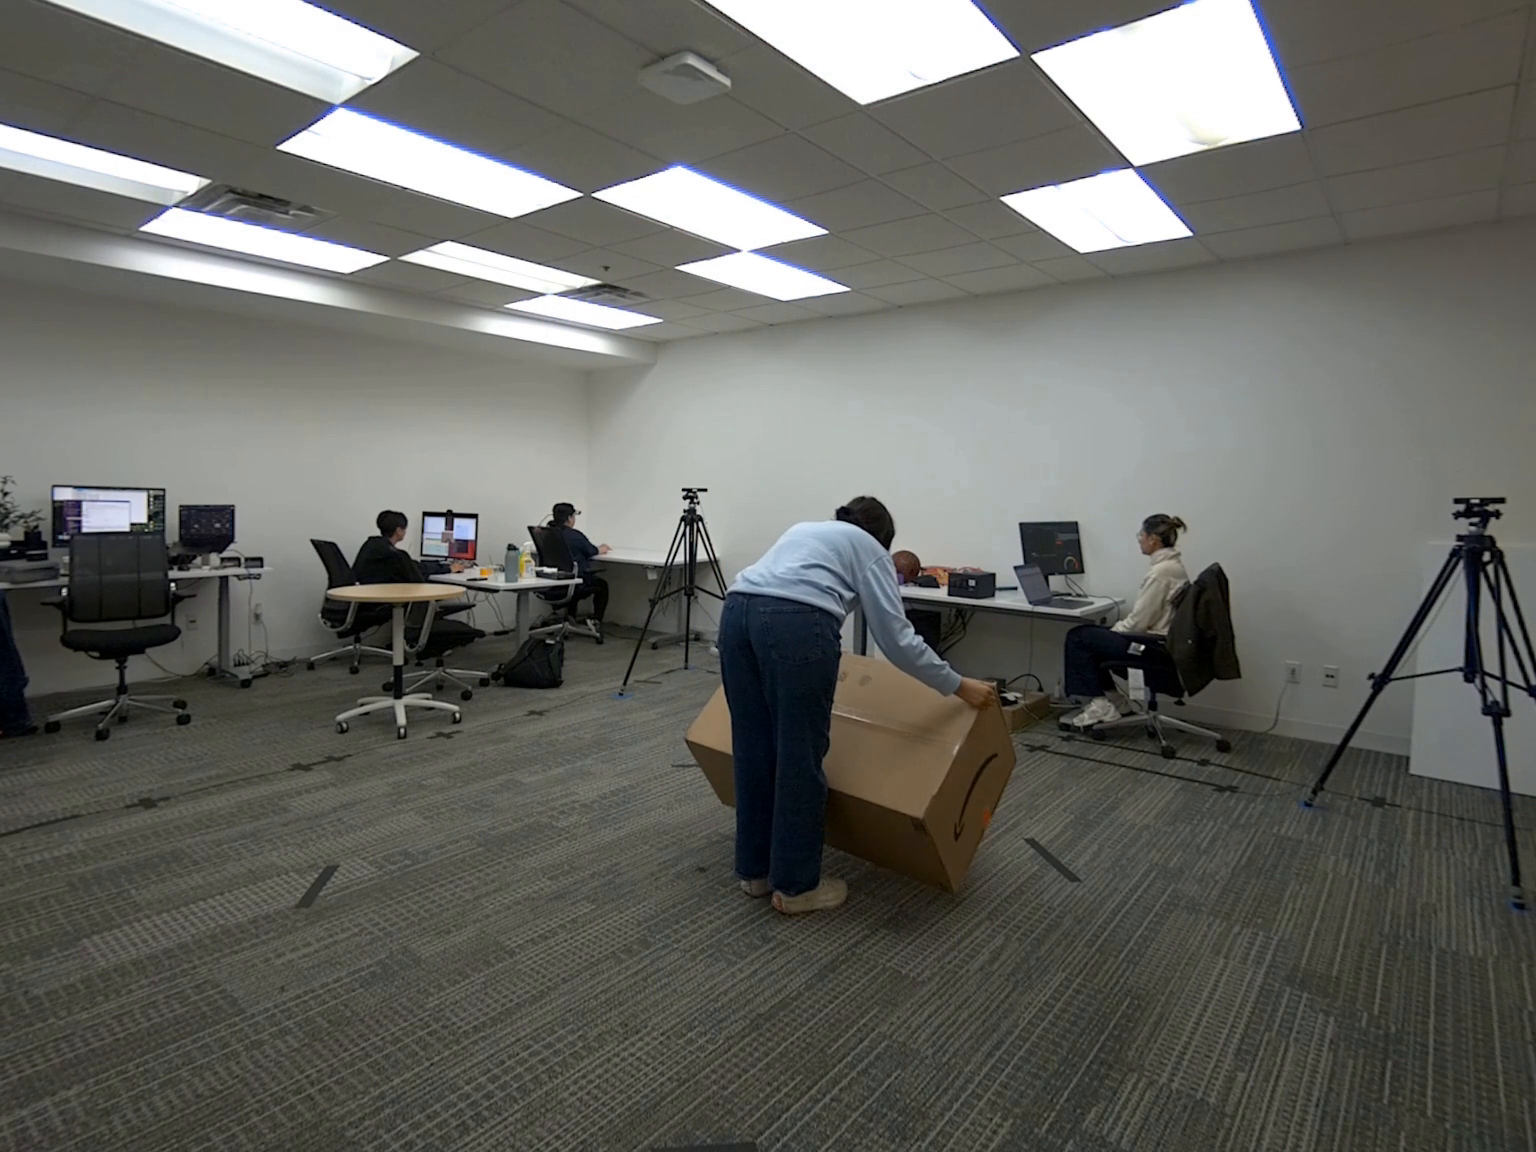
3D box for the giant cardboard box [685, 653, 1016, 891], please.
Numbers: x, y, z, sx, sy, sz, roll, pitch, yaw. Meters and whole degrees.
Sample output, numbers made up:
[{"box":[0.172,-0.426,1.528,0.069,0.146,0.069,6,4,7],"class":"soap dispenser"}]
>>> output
[{"box":[0.288,0.645,3.181,1.062,0.411,0.578,8,45,39],"class":"giant cardboard box"}]
